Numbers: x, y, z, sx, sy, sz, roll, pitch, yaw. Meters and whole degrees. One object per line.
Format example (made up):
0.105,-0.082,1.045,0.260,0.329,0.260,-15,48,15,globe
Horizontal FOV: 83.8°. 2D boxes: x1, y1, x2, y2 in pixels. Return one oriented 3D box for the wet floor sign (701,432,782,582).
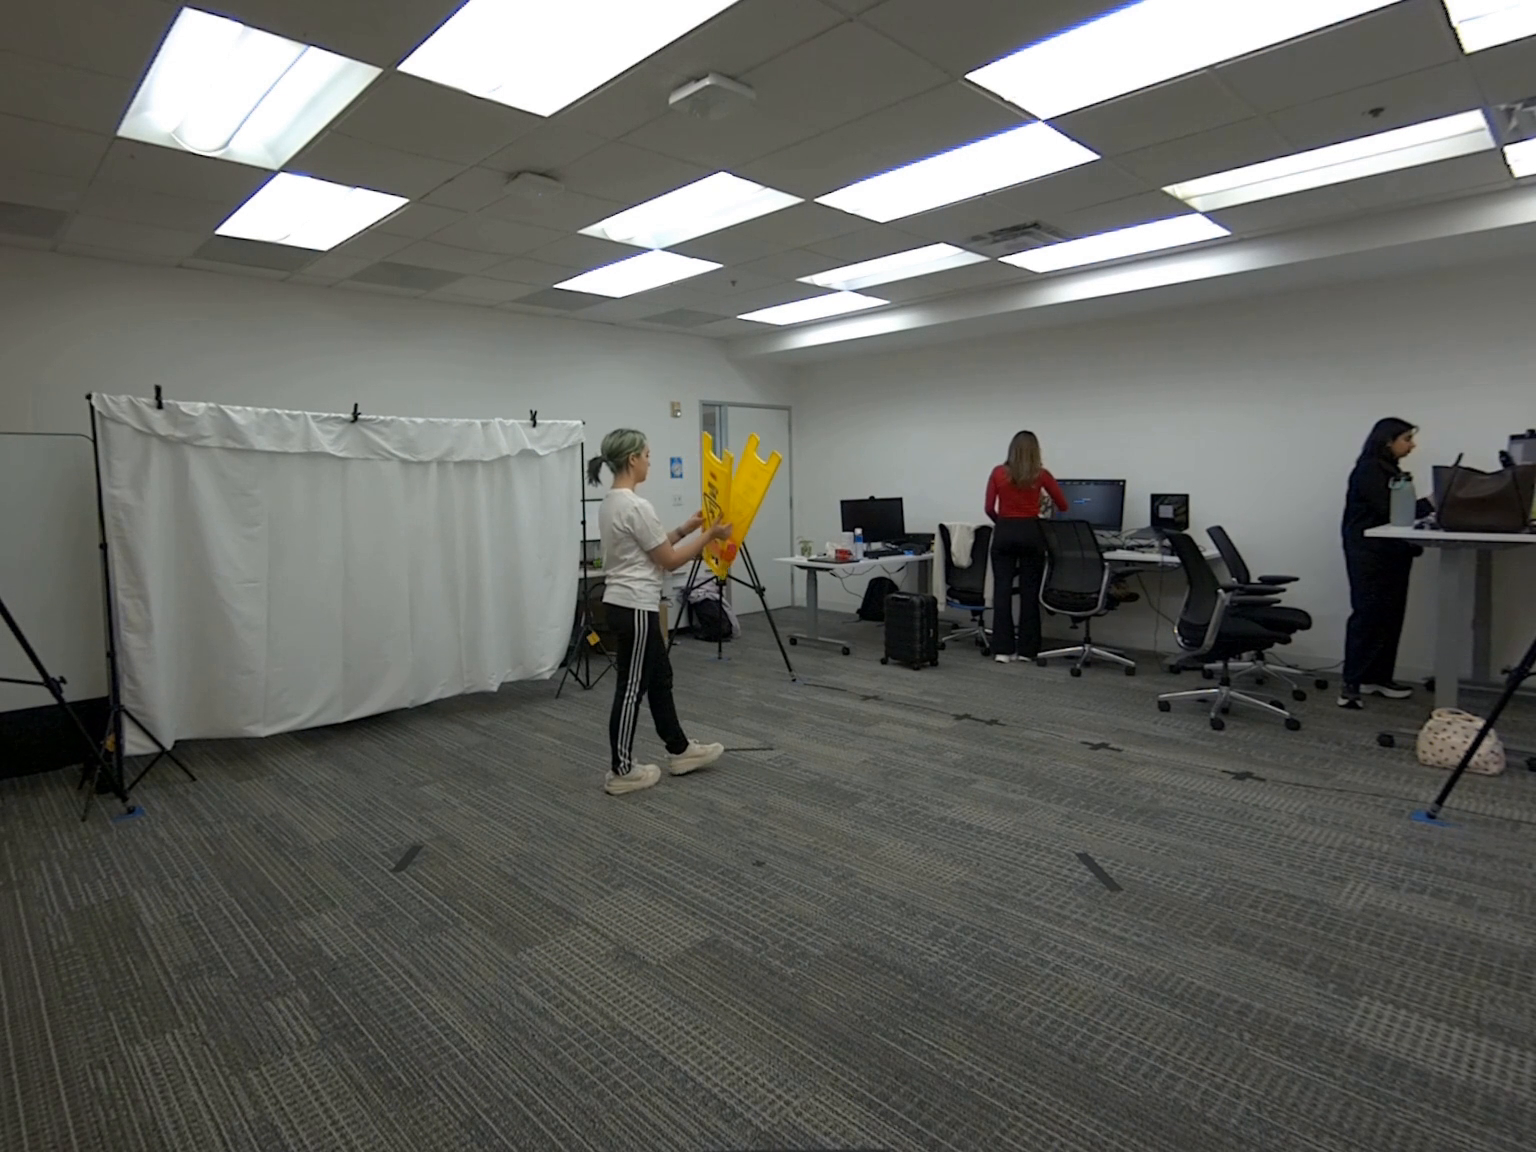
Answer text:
-0.190,-0.304,3.909,0.283,0.636,0.293,-2,30,-29,wet floor sign
